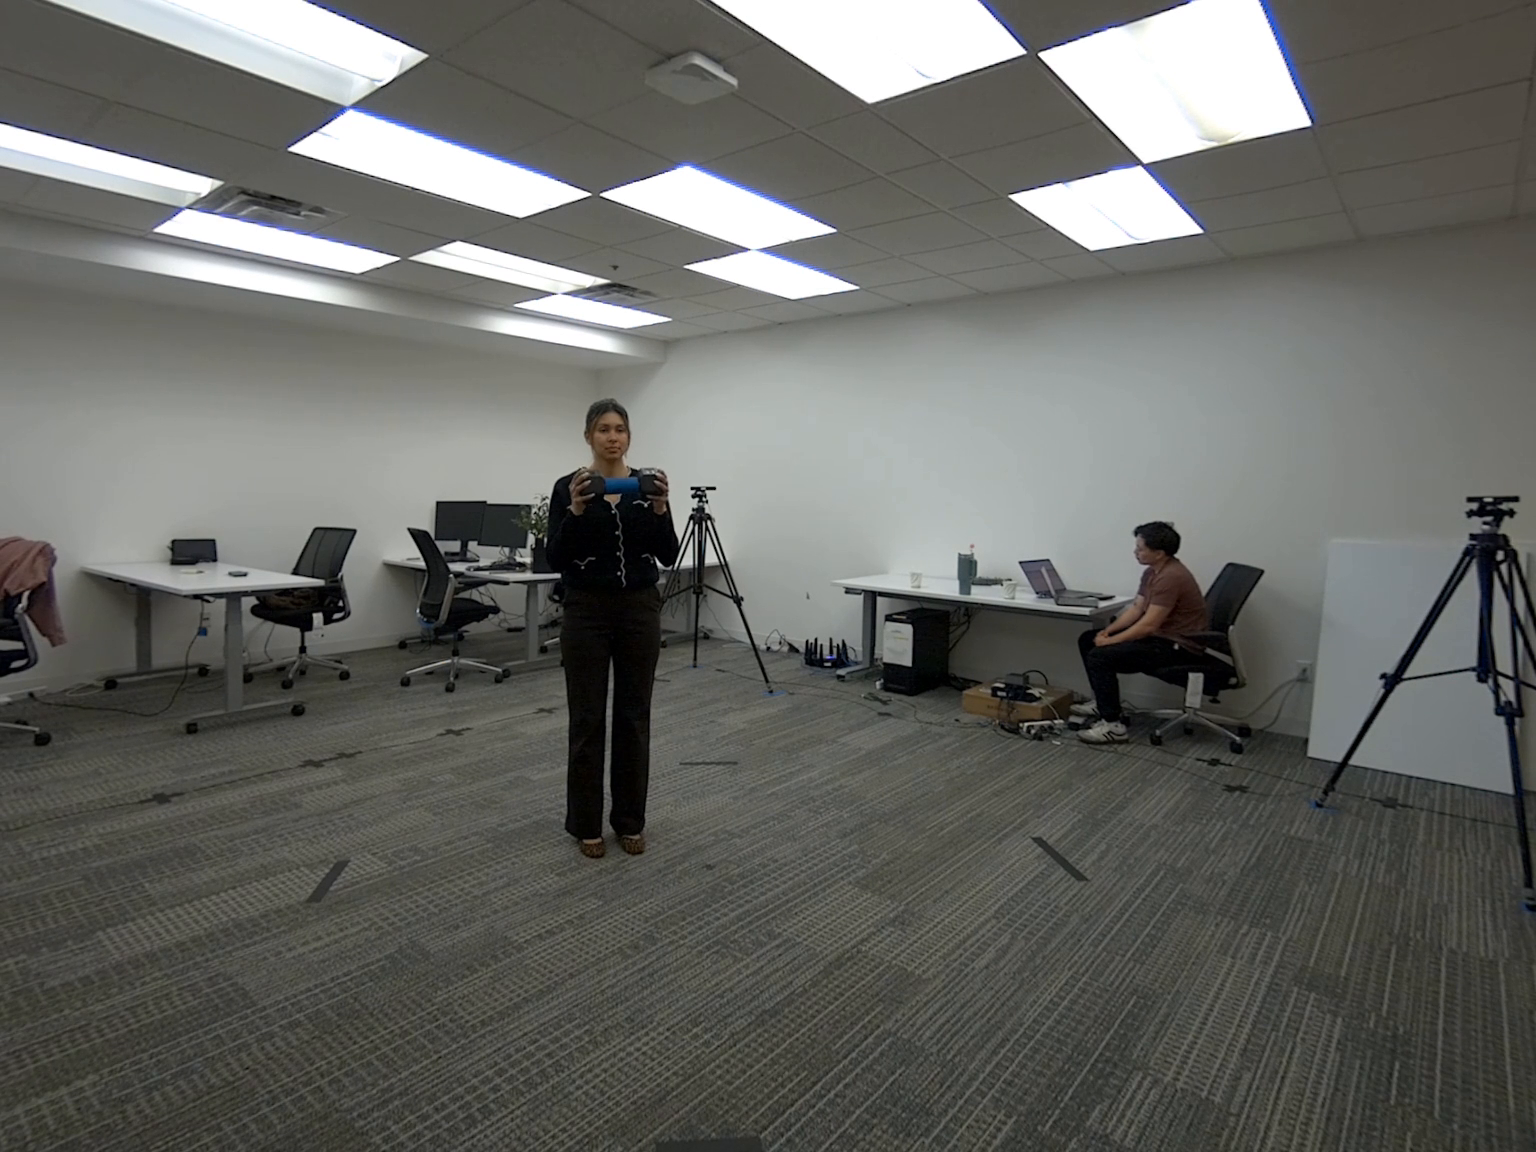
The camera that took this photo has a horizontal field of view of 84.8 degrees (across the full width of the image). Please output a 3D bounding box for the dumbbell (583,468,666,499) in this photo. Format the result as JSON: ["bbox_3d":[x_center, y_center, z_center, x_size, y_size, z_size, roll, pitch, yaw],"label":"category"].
[{"bbox_3d":[-0.543,-0.323,3.085,0.290,0.112,0.121,-3,-27,-10],"label":"dumbbell"}]
